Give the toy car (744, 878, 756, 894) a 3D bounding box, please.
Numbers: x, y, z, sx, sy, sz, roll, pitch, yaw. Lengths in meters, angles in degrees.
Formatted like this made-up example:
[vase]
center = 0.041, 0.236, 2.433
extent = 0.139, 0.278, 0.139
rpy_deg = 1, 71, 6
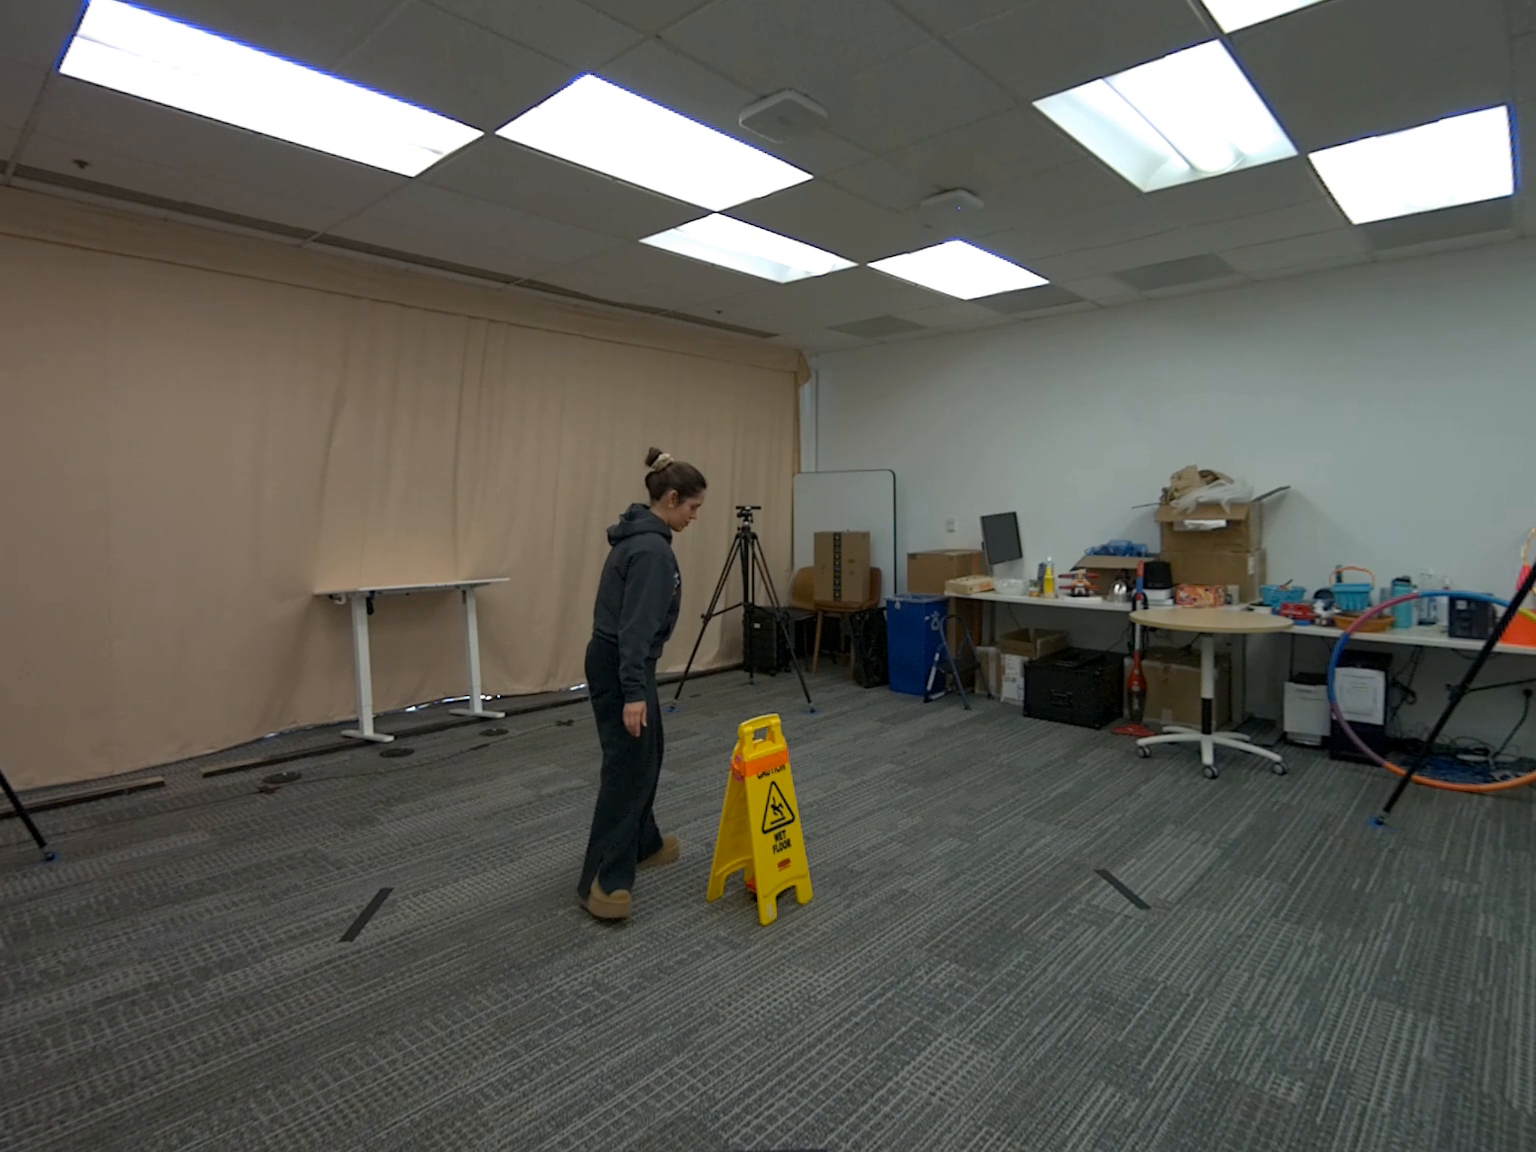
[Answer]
[toy car]
center = 0.062, 1.106, 3.043
extent = 0.134, 0.083, 0.246
rpy_deg = 3, -4, 43
